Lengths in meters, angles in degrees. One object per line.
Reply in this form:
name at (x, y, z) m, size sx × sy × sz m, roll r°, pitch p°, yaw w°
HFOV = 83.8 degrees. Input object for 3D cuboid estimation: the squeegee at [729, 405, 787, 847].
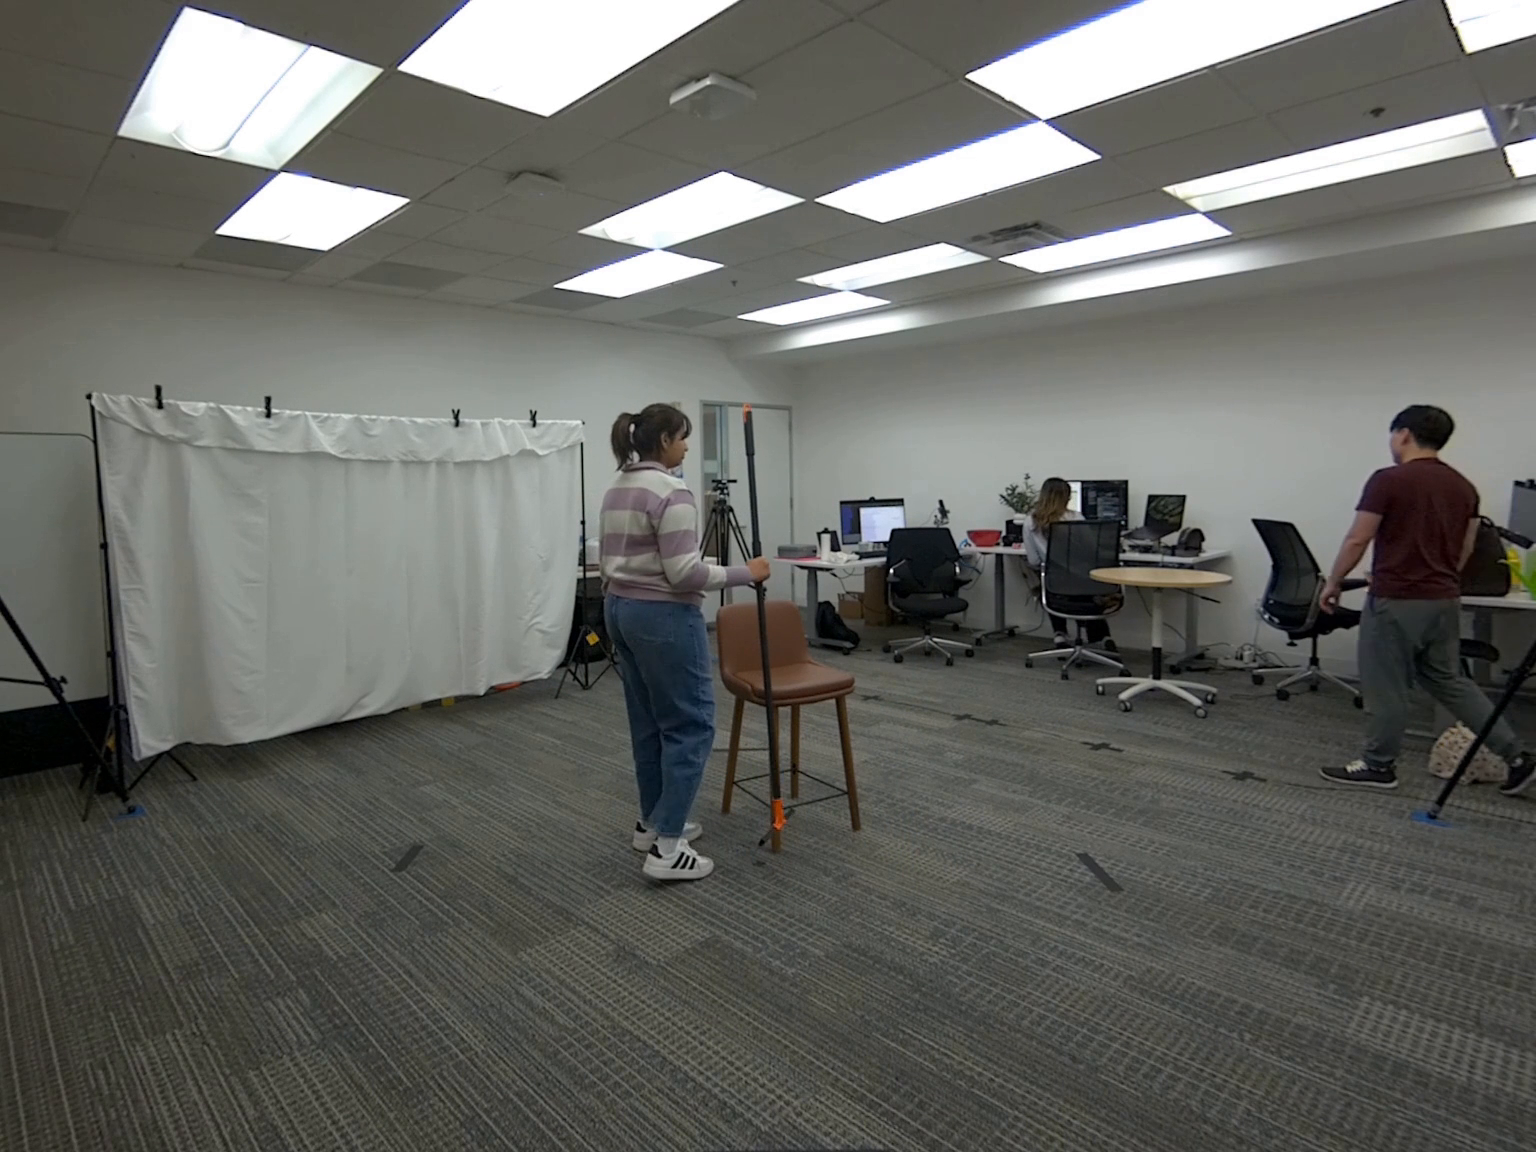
squeegee at (-0.021, 0.153, 3.083) m, size 0.052 × 1.542 × 0.438 m, roll -3°, pitch -3°, yaw -7°
